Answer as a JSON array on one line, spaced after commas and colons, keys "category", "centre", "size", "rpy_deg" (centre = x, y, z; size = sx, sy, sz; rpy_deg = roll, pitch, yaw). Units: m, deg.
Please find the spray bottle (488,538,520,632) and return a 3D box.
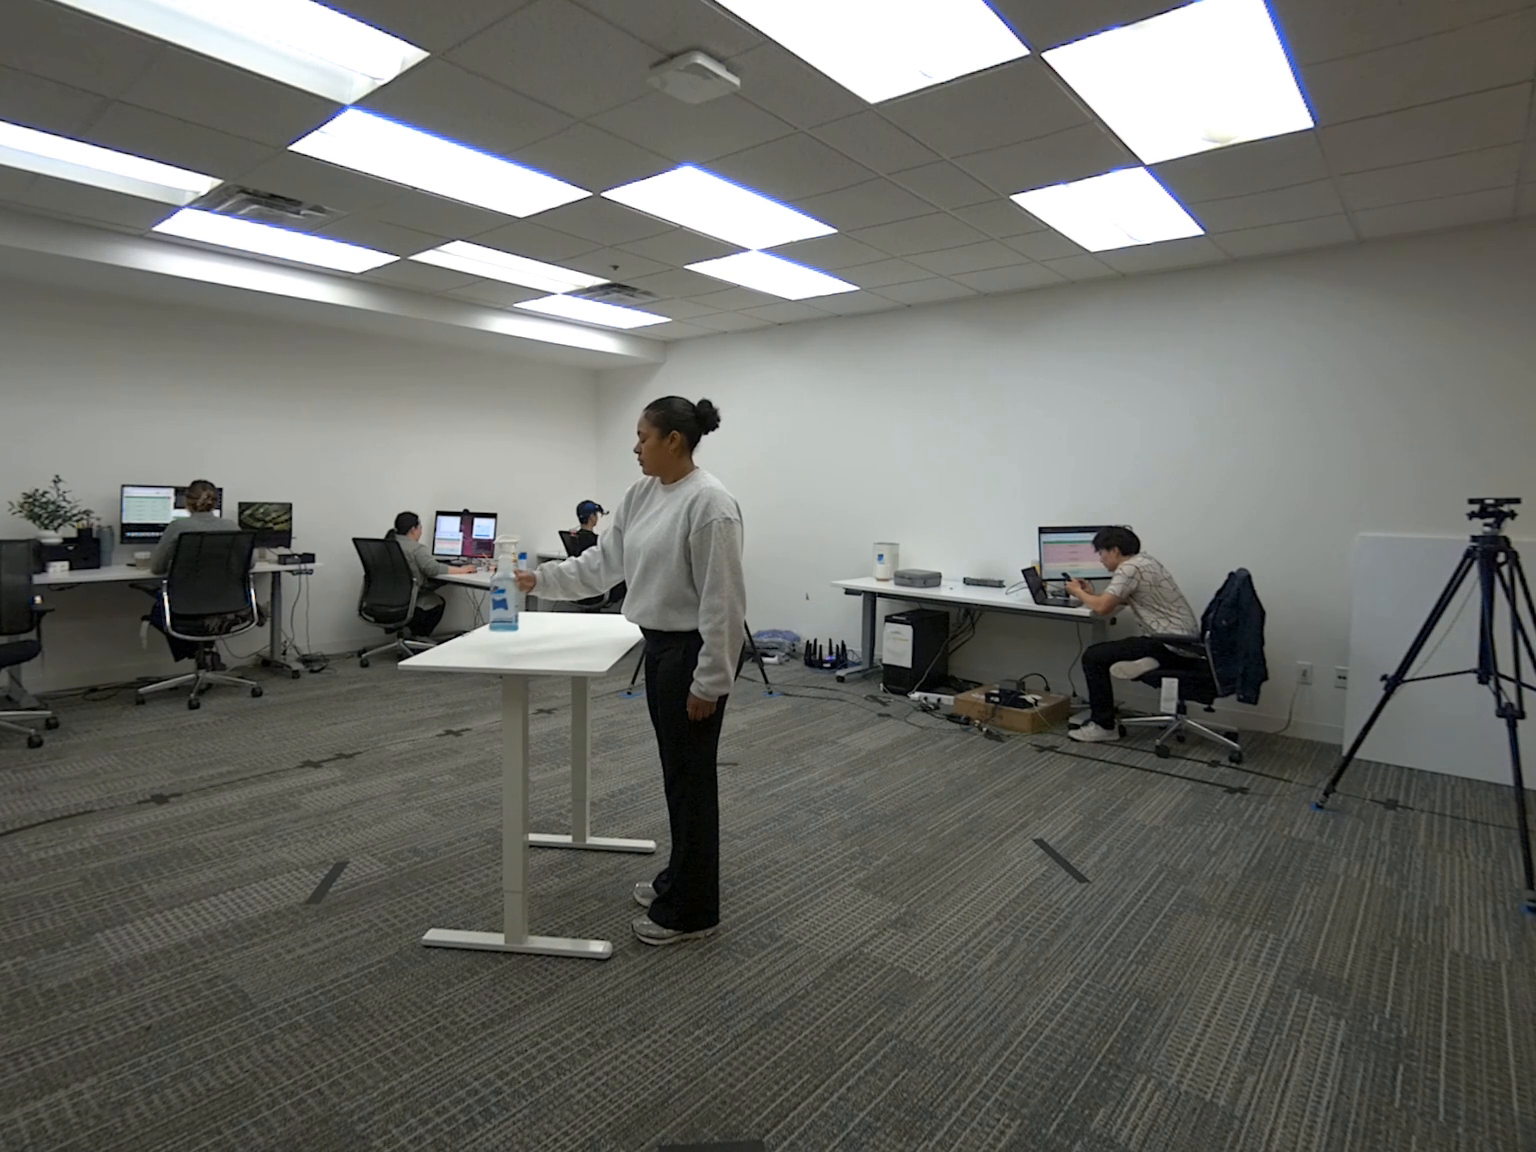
[{"category": "spray bottle", "centre": [-0.812, 0.018, 2.594], "size": [0.088, 0.300, 0.088], "rpy_deg": [2, -10, -19]}]
